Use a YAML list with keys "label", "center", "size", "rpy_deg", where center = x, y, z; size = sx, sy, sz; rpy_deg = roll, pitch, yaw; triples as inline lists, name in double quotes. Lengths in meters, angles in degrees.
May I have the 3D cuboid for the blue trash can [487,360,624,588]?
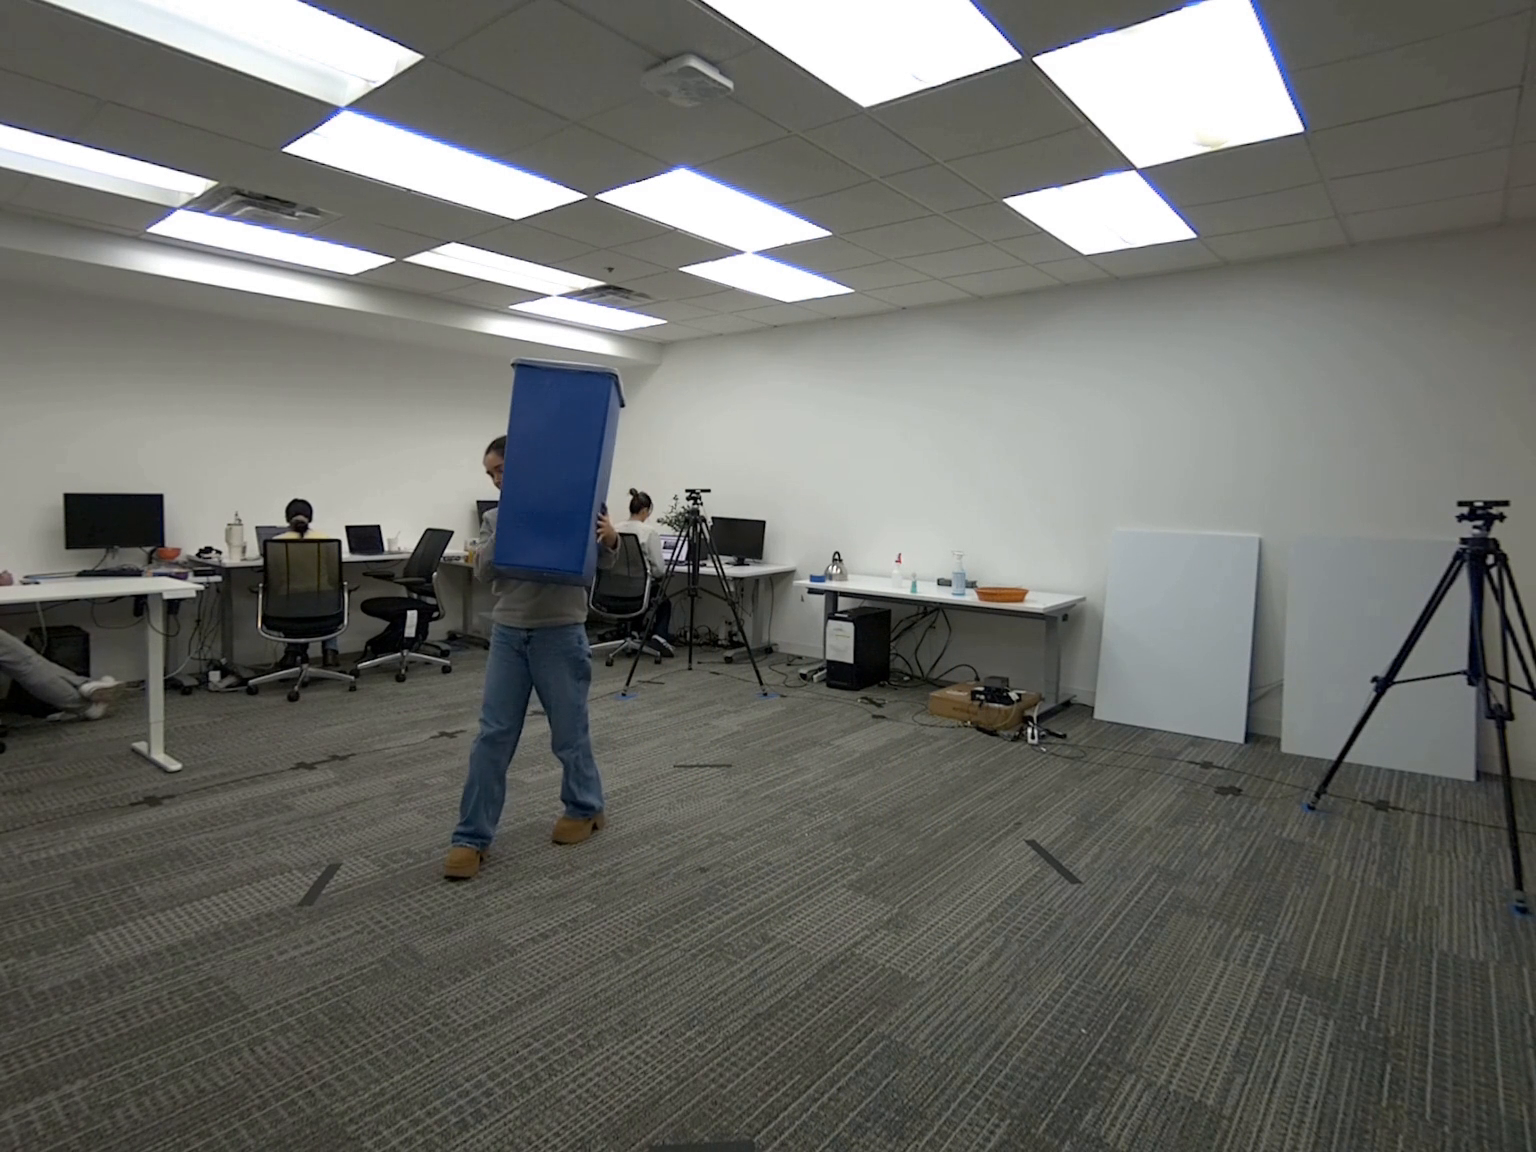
- label: "blue trash can"
  center: [-0.747, -0.361, 2.969]
  size: [0.377, 0.721, 0.371]
  rpy_deg: [6, -11, -3]
